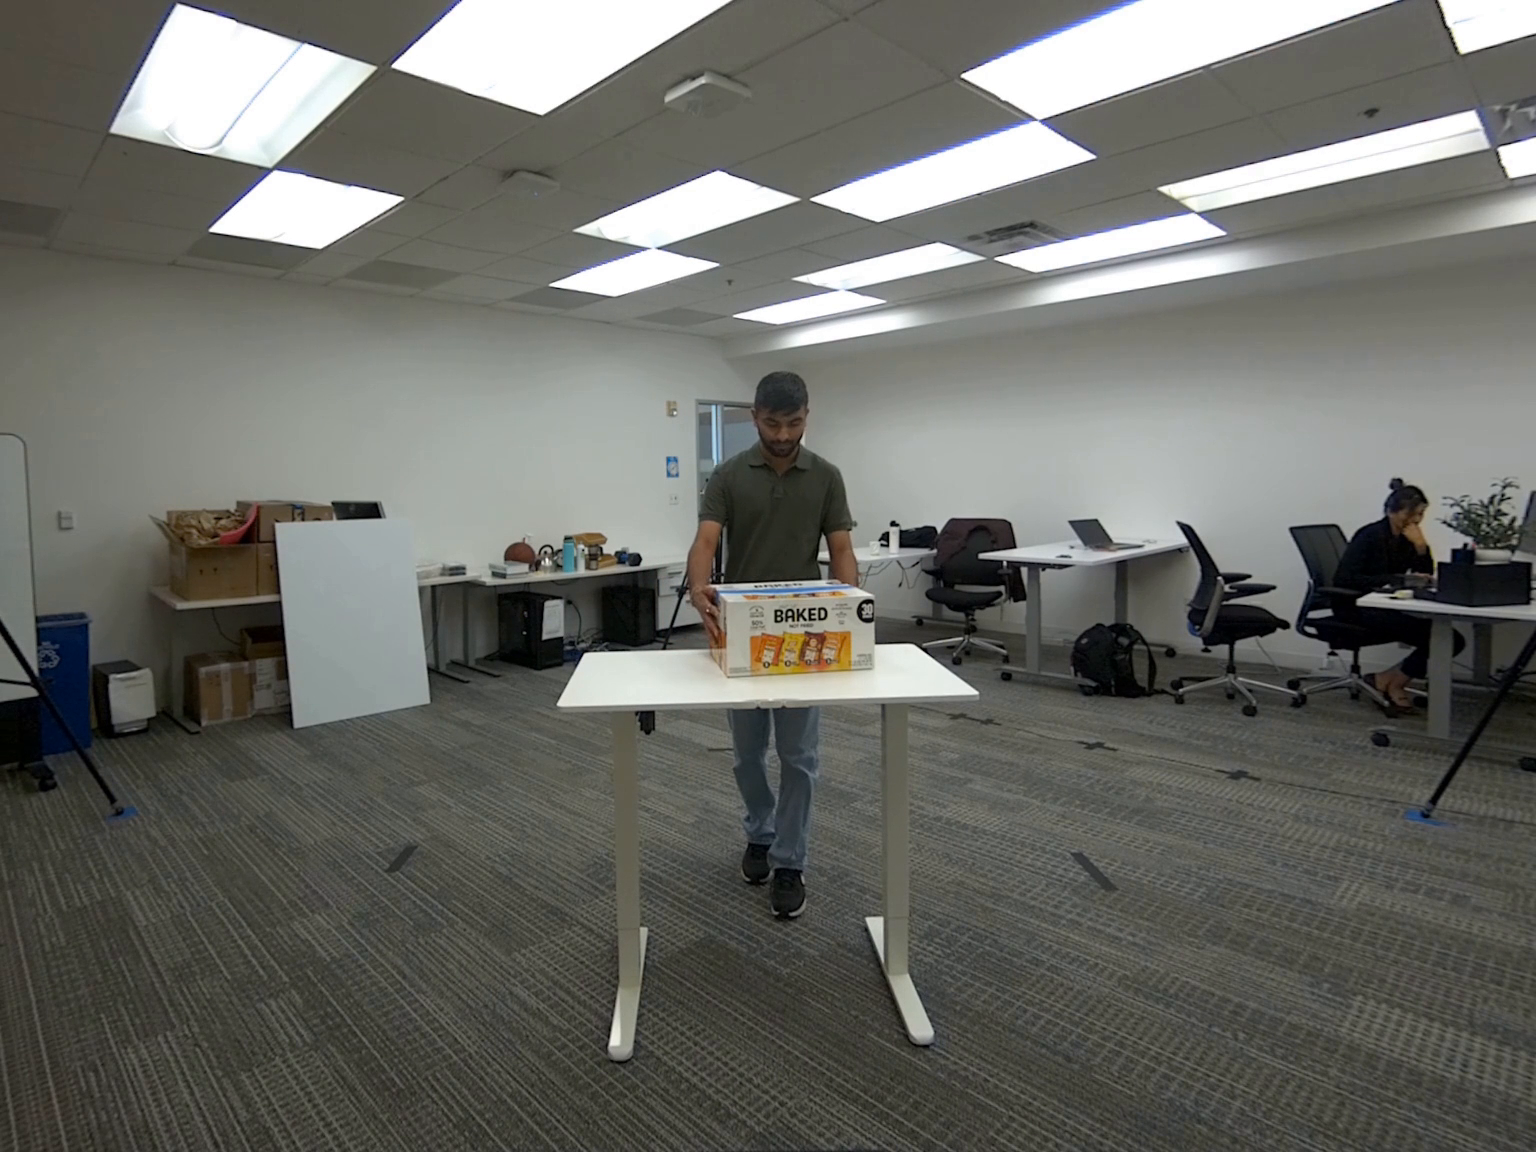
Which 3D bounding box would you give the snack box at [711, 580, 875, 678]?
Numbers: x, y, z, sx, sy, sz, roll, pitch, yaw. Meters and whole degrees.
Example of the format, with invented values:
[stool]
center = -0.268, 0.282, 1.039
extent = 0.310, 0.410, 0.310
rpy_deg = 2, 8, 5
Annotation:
[snack box]
center = 0.054, 0.139, 2.421
extent = 0.401, 0.205, 0.346
rpy_deg = -2, 6, -11
